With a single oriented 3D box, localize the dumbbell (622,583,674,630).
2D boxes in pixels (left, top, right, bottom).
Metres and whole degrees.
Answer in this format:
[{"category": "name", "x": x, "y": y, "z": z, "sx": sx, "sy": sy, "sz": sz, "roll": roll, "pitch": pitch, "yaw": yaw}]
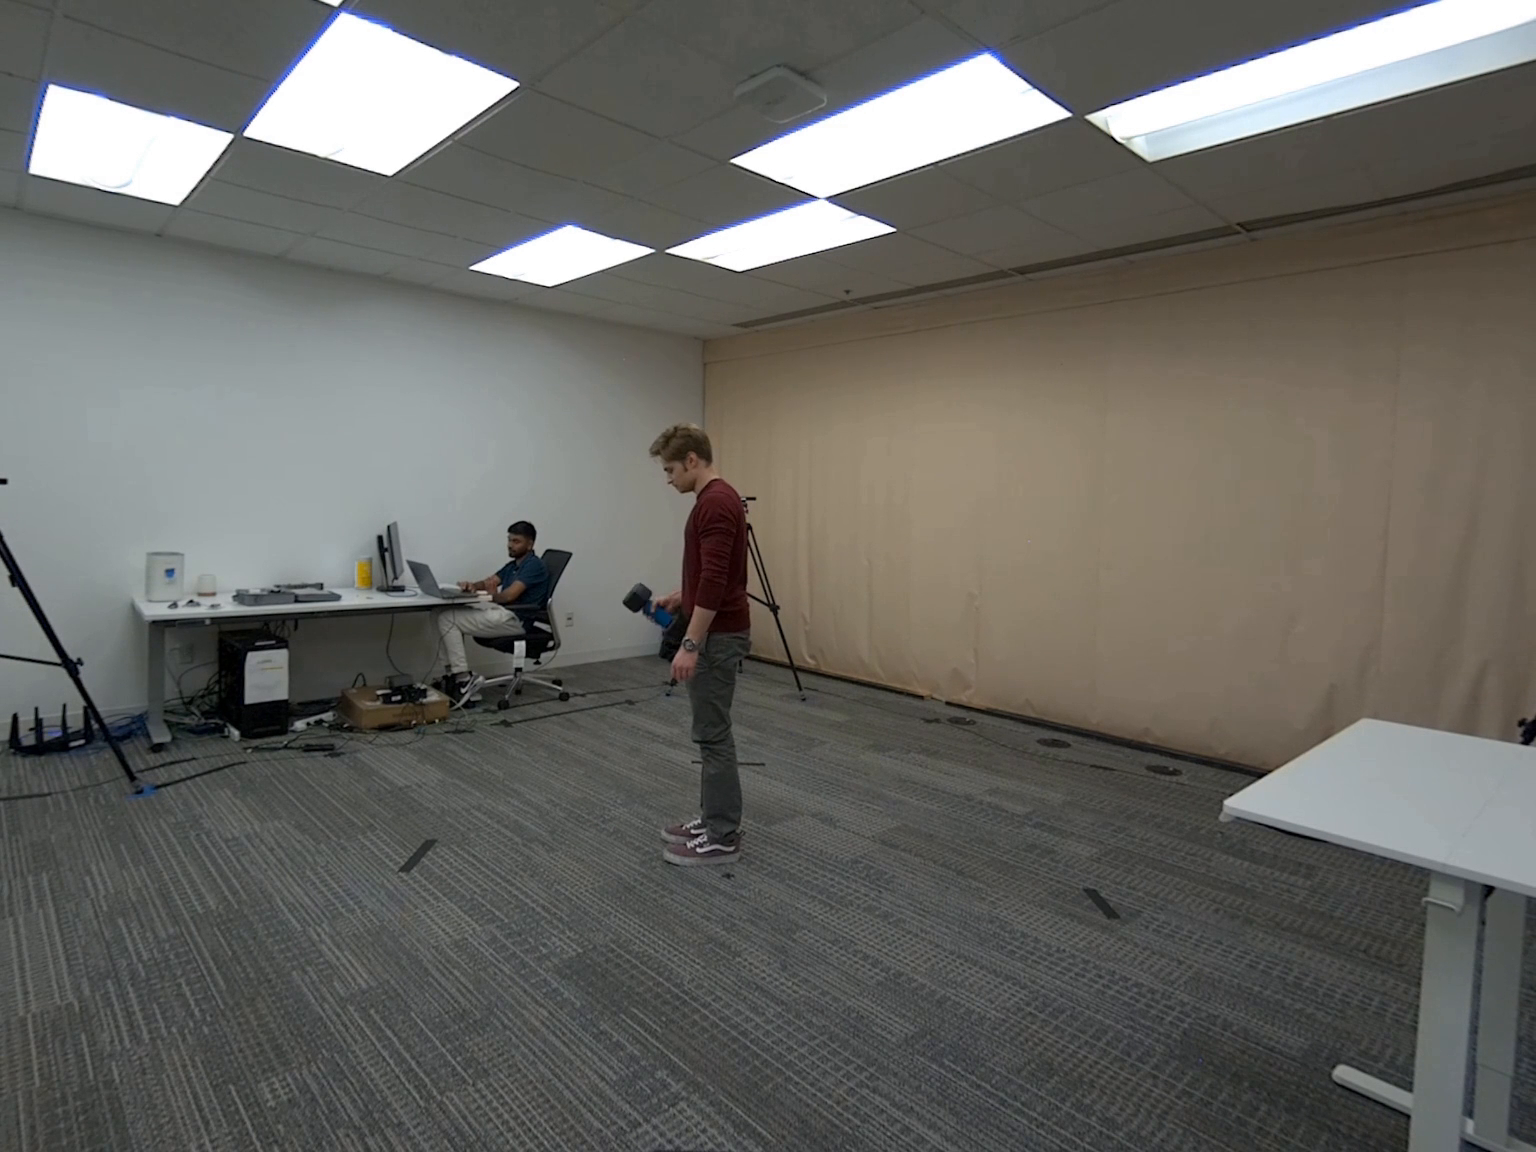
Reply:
[{"category": "dumbbell", "x": -0.467, "y": 0.156, "z": 3.528, "sx": 0.292, "sy": 0.123, "sz": 0.109, "roll": 40, "pitch": 9, "yaw": -5}]
